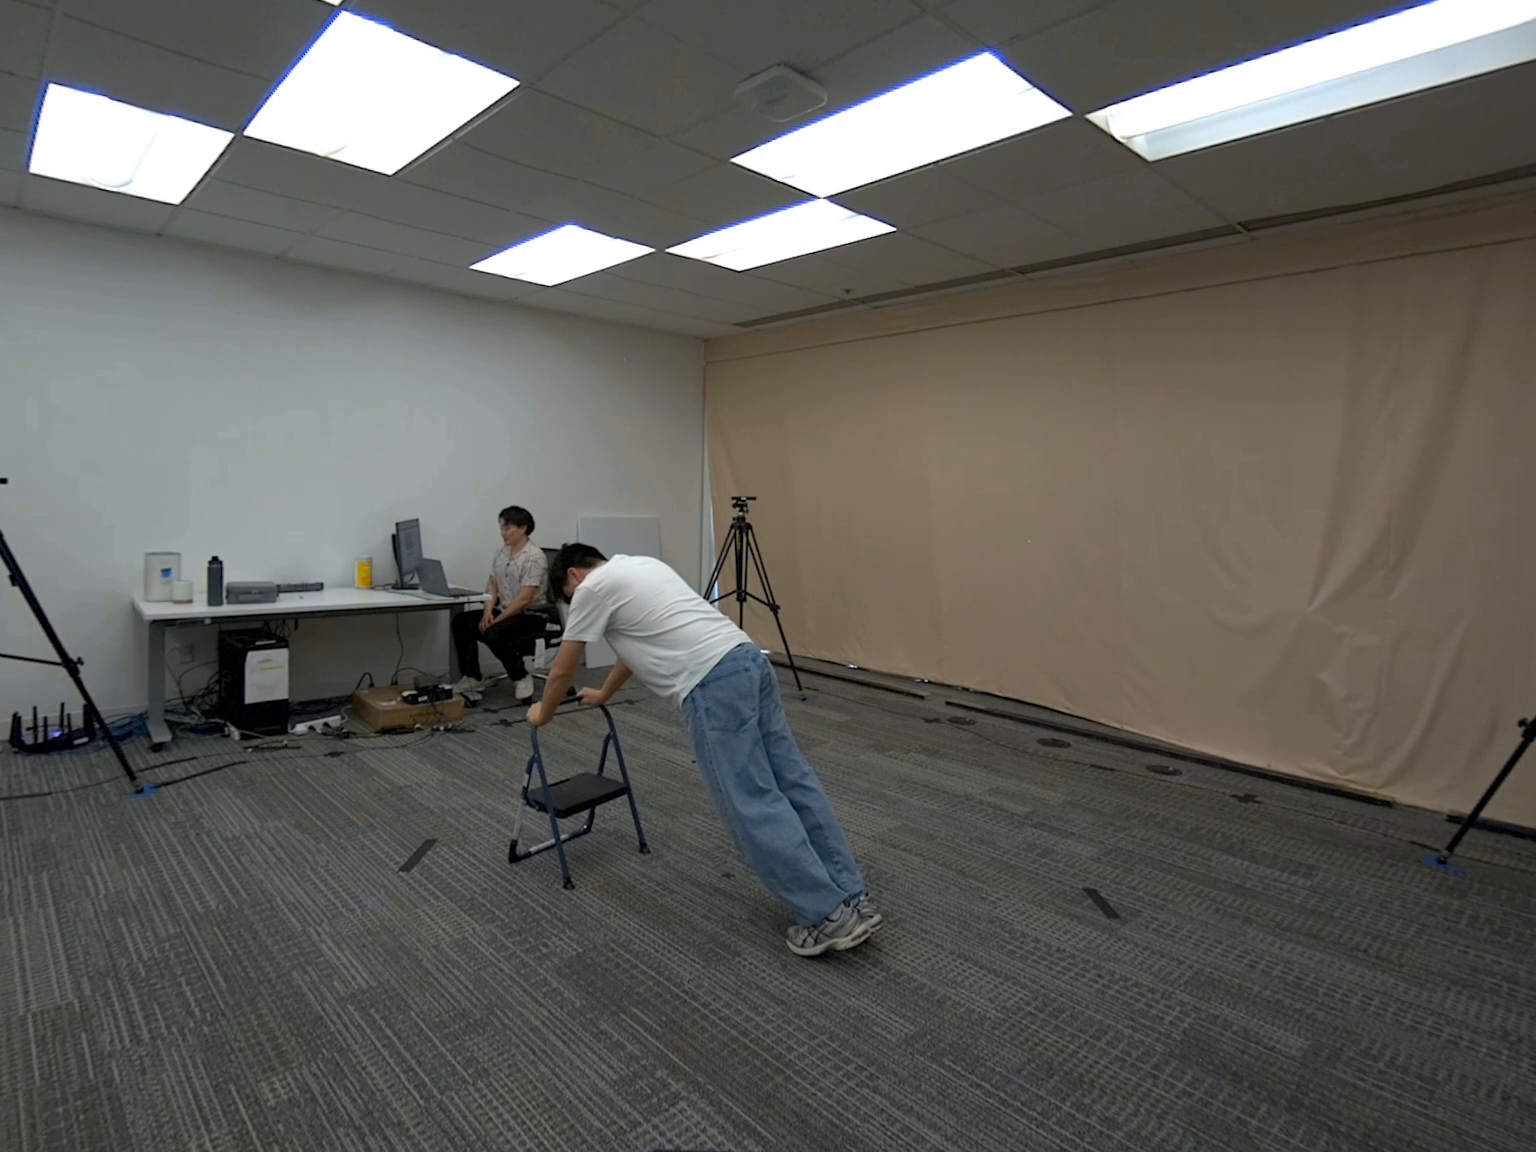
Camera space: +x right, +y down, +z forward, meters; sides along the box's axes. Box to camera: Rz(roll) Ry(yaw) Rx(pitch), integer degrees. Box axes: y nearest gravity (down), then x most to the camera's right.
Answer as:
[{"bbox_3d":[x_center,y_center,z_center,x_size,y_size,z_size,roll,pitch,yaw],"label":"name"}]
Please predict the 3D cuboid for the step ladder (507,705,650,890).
[{"bbox_3d":[-0.727,0.779,3.224,0.357,0.605,0.421,3,4,35],"label":"step ladder"}]
